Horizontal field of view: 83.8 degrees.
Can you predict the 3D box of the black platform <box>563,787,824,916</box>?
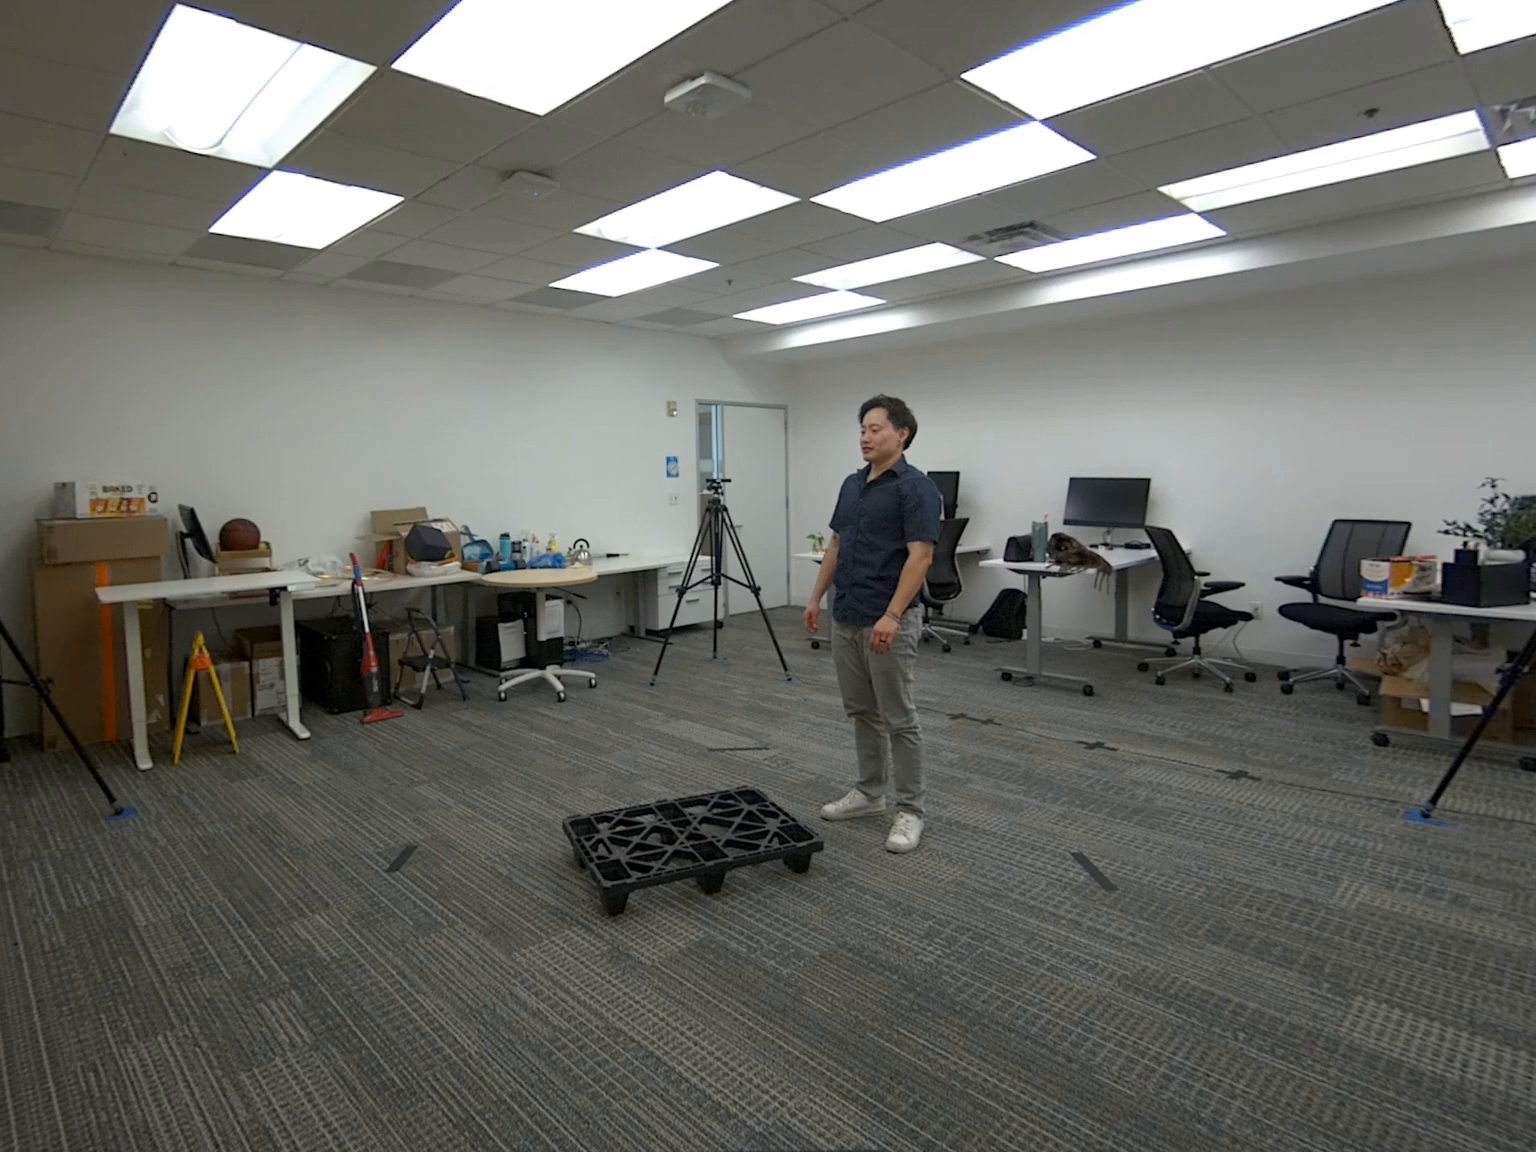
[{"bbox_3d":[-0.289,0.984,3.101,0.789,0.143,0.620,-4,7,-24],"label":"black platform"}]
